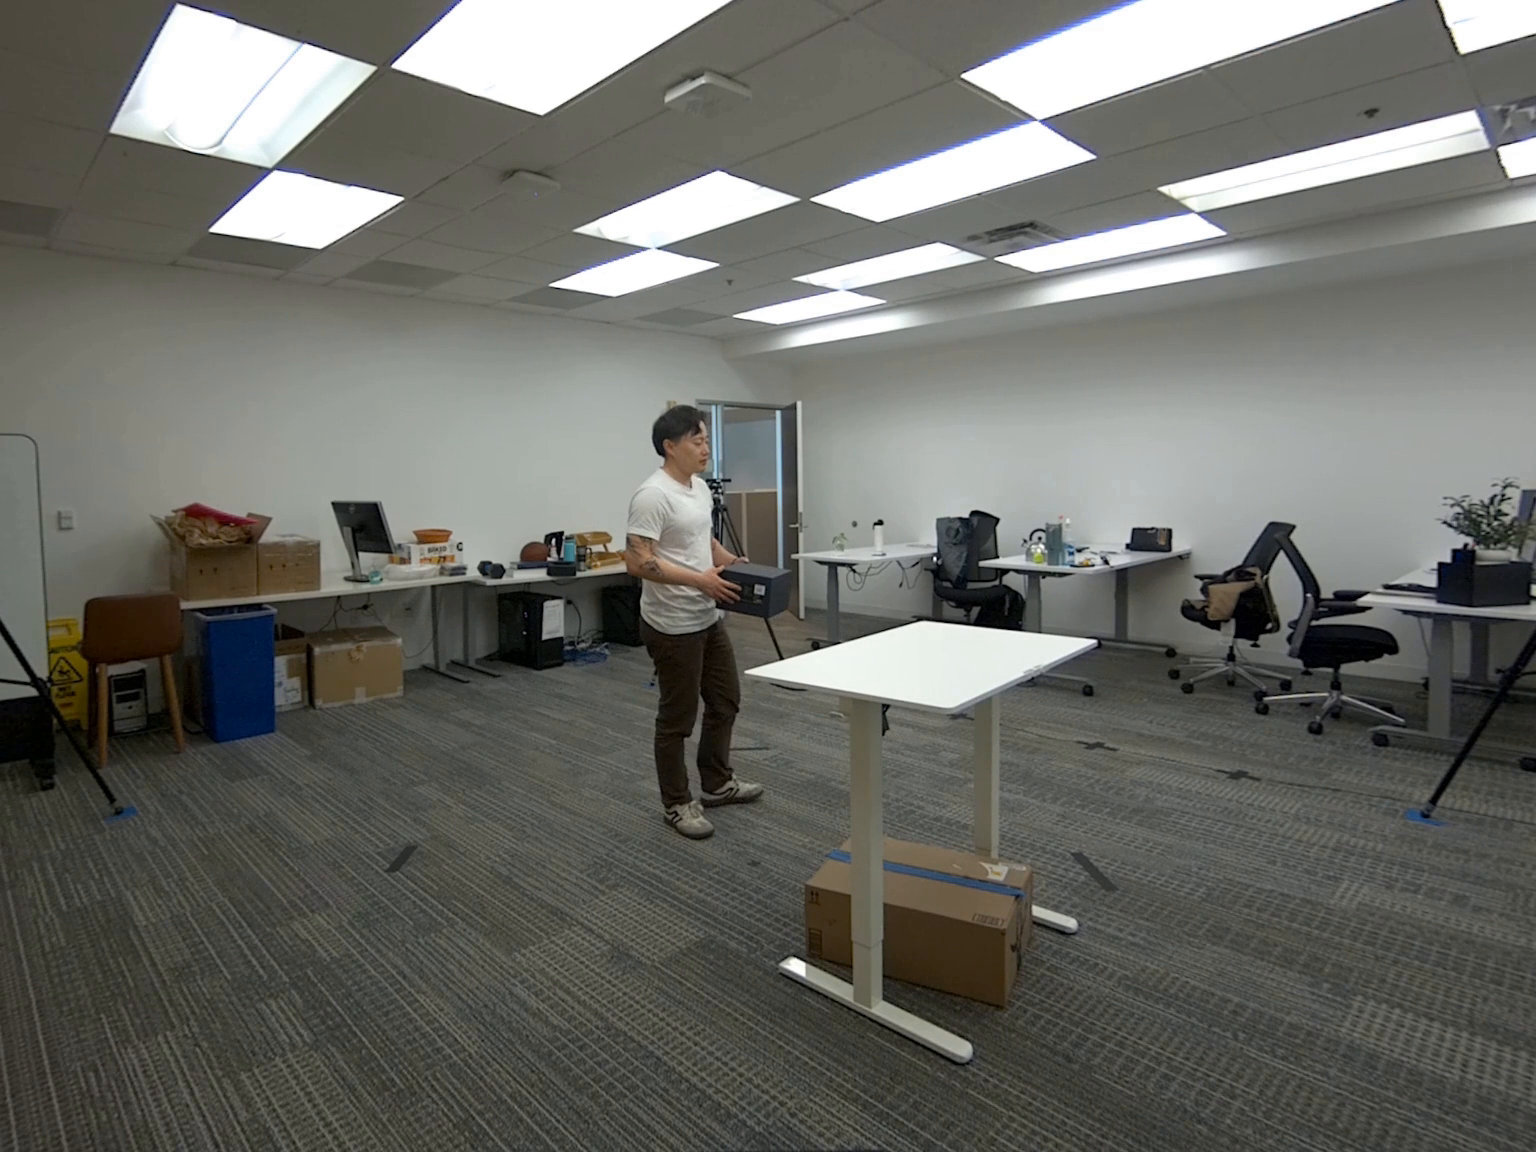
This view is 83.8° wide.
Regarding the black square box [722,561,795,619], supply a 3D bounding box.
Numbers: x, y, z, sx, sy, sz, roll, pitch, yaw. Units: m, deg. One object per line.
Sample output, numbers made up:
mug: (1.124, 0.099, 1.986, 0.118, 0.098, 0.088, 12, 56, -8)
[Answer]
black square box: (-0.035, 0.048, 3.266, 0.220, 0.155, 0.226, 7, 9, 14)
